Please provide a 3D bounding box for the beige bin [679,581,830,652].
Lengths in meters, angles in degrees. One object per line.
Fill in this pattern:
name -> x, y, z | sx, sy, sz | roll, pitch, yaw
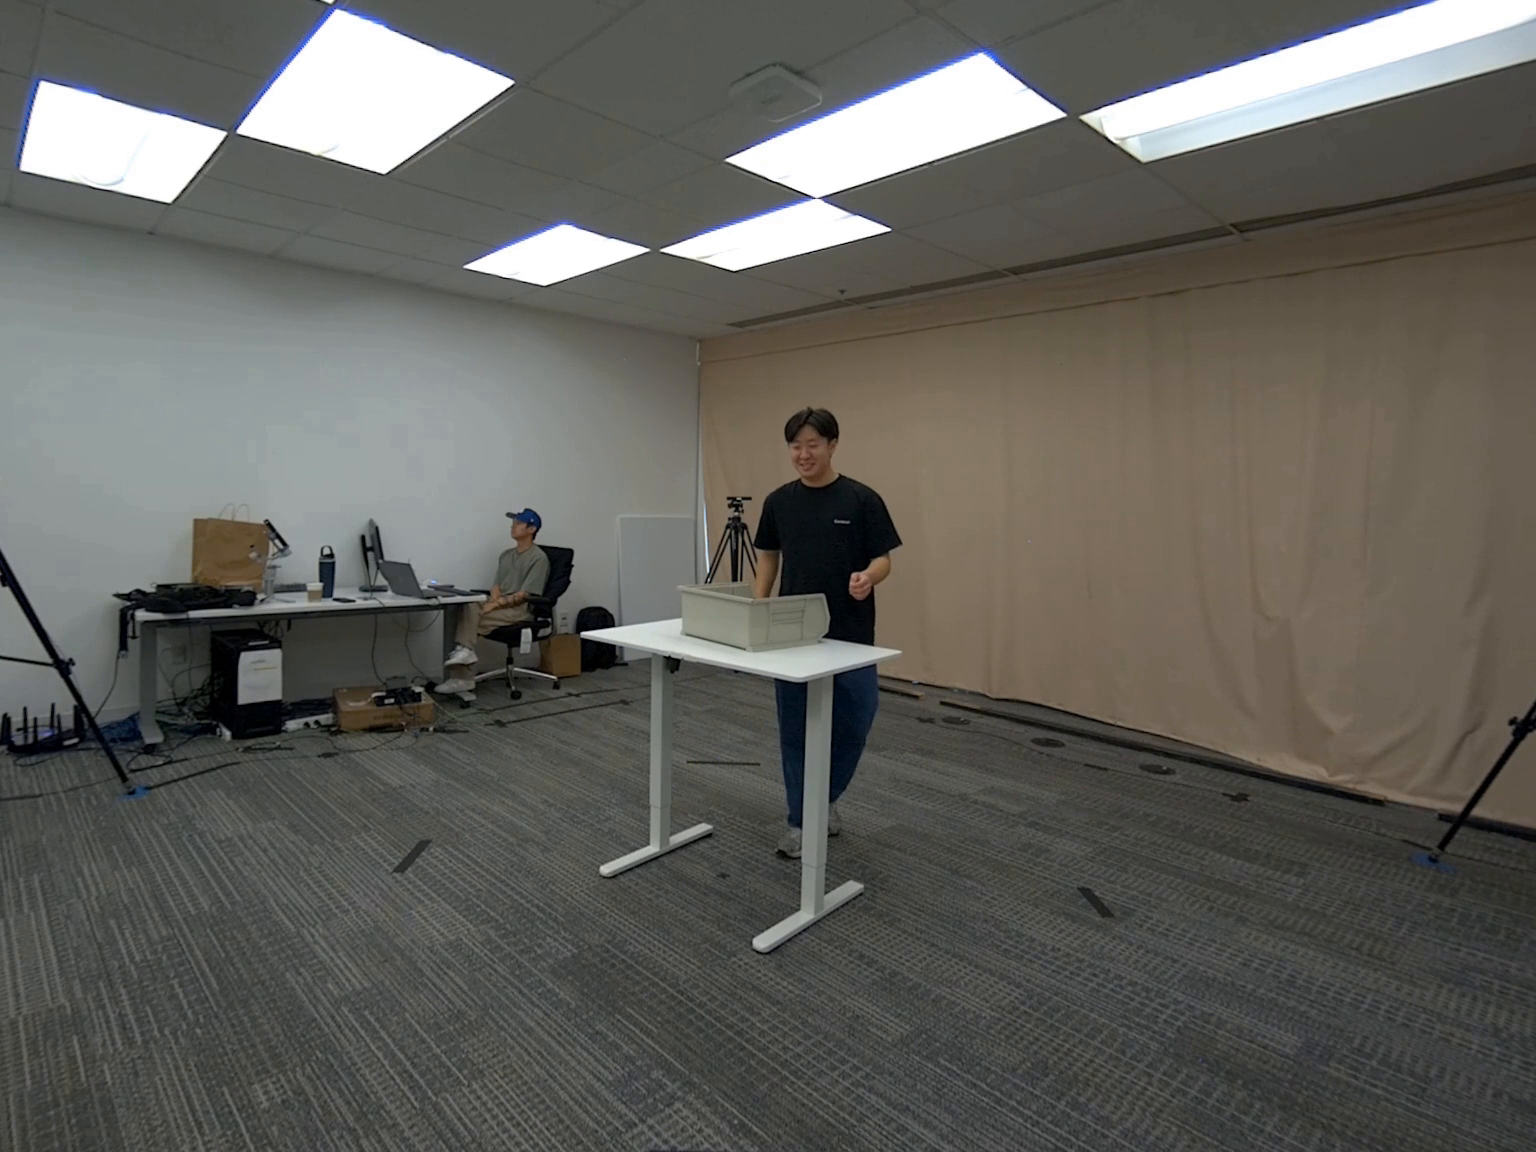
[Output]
beige bin -> -0.063, 0.142, 3.055 | 0.369, 0.188, 0.433 | -5, 8, -40
